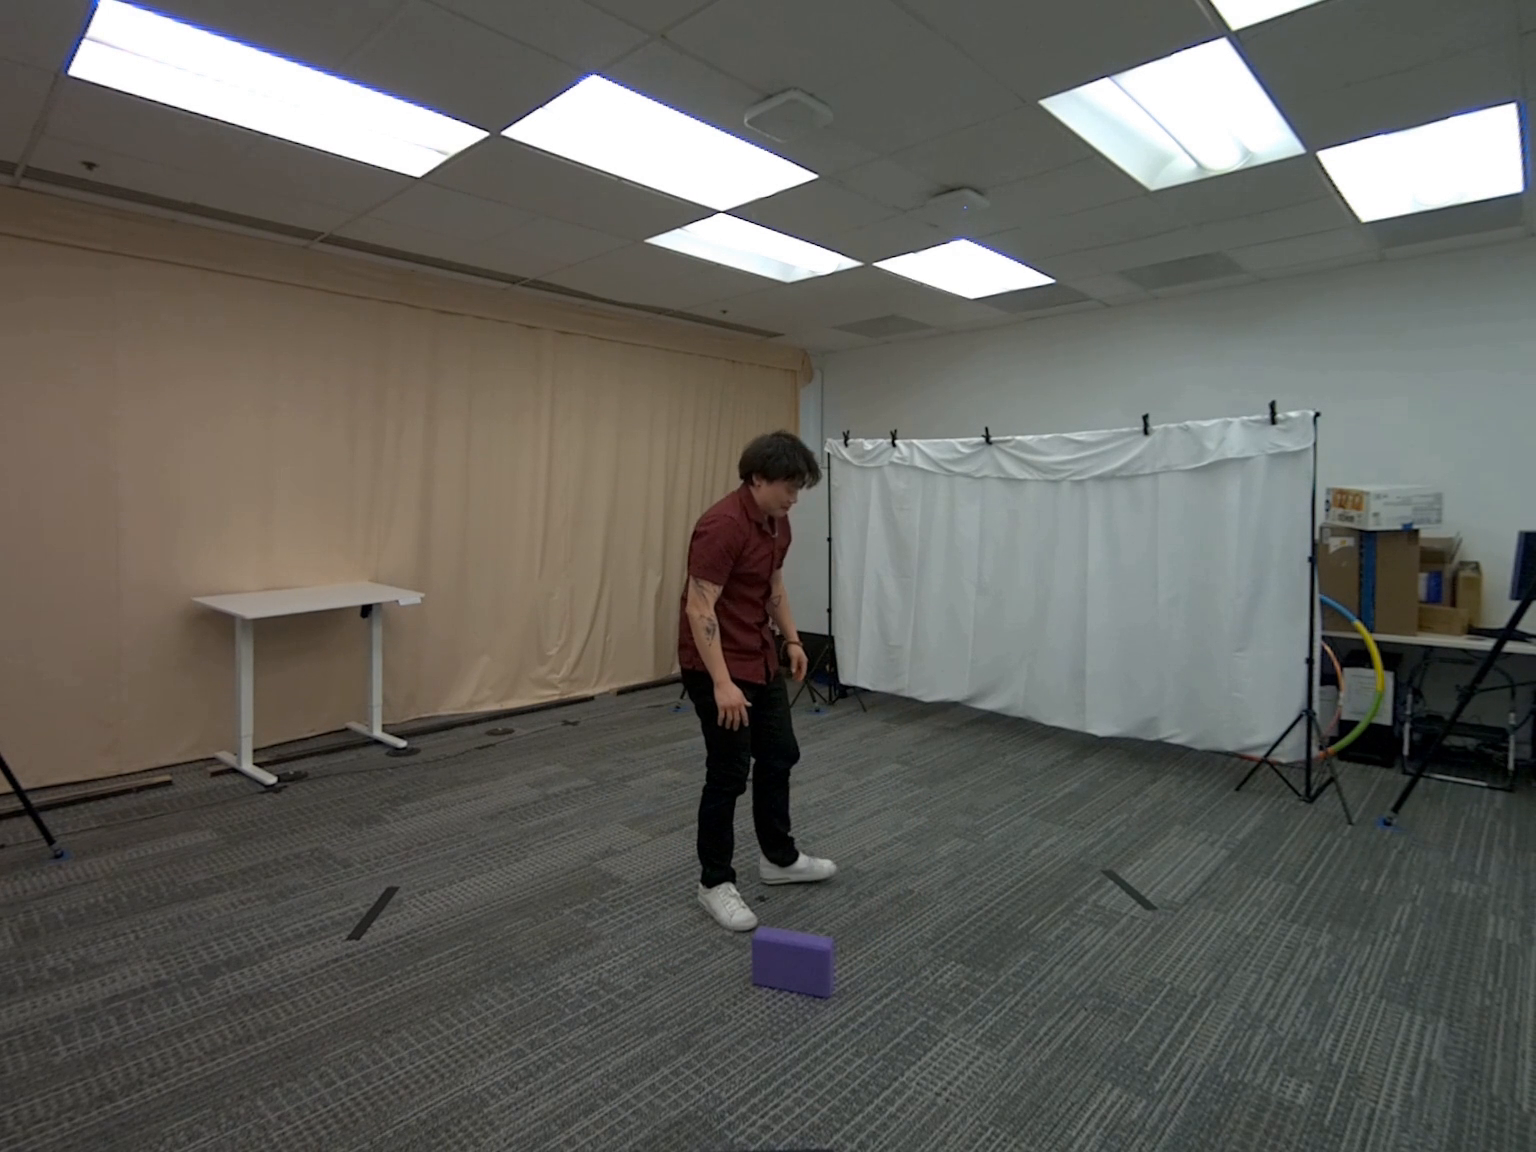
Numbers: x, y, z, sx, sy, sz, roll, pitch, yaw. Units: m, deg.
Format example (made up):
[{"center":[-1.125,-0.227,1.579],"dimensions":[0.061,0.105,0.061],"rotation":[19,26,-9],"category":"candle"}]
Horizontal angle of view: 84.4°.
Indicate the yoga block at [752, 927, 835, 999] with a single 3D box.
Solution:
[{"center":[0.078,1.110,2.438],"dimensions":[0.234,0.149,0.075],"rotation":[1,4,19],"category":"yoga block"}]
